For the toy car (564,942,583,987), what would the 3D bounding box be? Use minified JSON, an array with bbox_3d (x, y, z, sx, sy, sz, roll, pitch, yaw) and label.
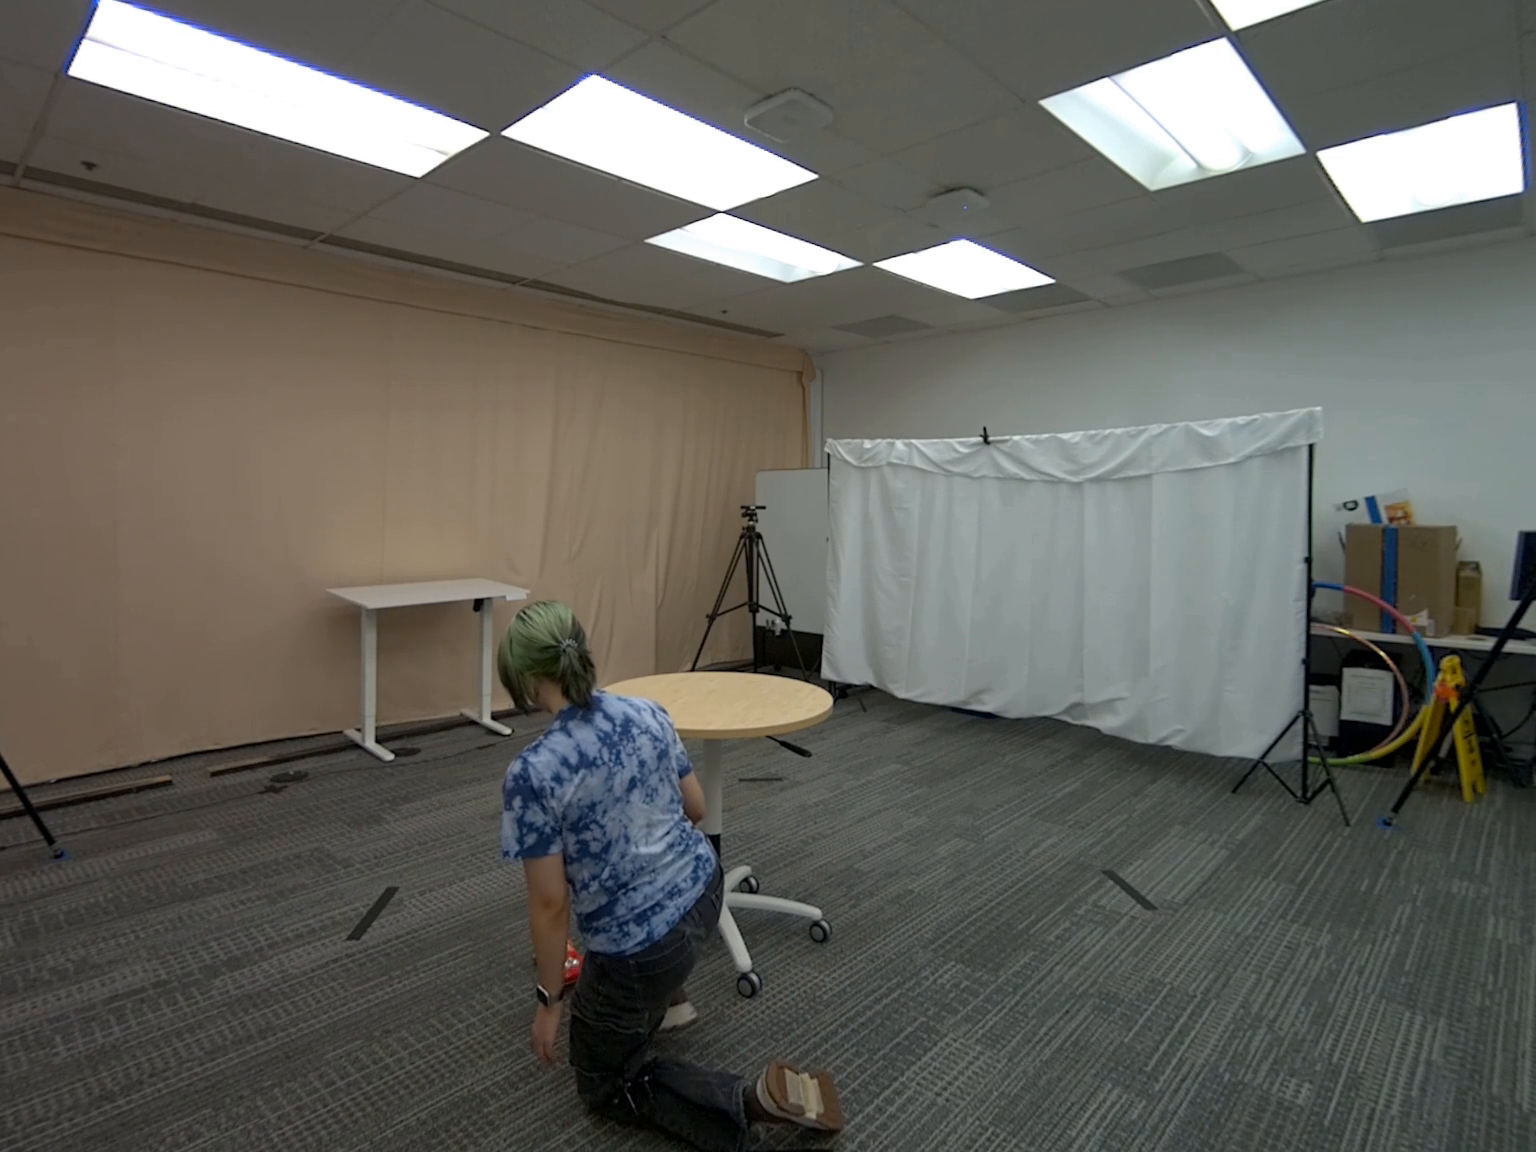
[{"bbox_3d":[-0.612,1.156,2.510,0.127,0.083,0.260,-3,-6,-32],"label":"toy car"}]
